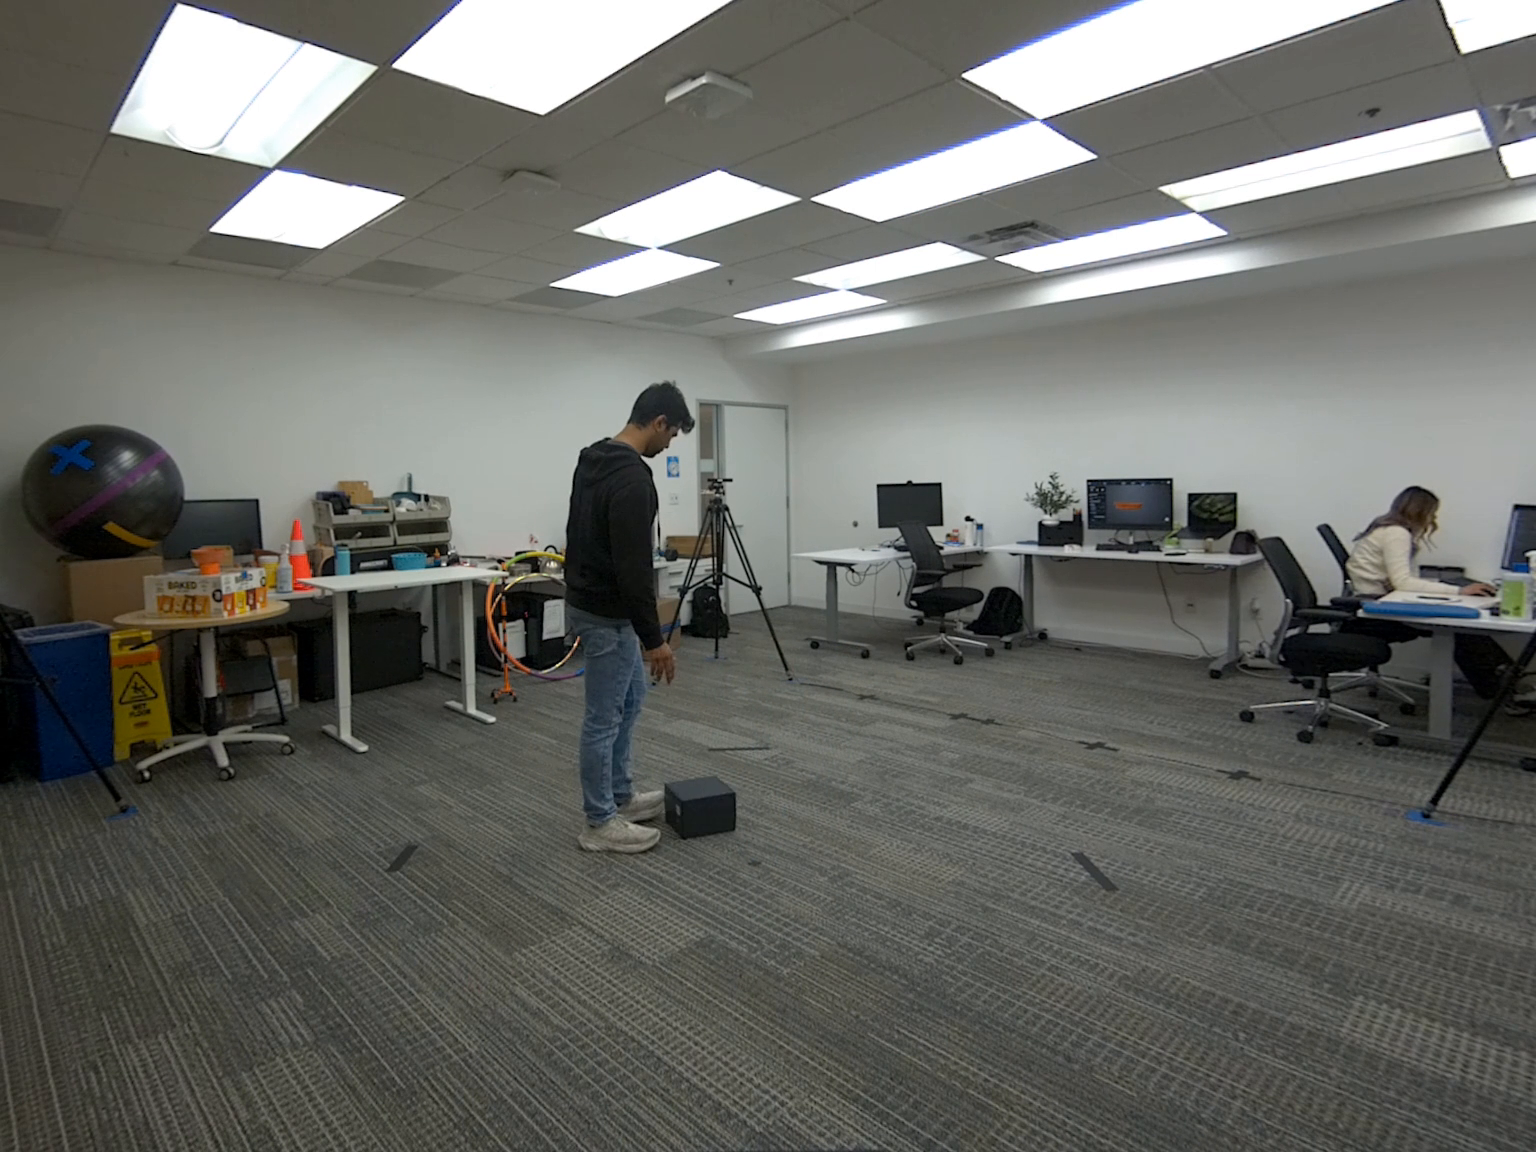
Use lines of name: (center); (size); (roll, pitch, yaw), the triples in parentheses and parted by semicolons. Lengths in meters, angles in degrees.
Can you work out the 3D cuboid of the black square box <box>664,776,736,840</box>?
black square box: (-0.288, 0.924, 3.449); (0.223, 0.155, 0.222); (-4, 6, -25)
